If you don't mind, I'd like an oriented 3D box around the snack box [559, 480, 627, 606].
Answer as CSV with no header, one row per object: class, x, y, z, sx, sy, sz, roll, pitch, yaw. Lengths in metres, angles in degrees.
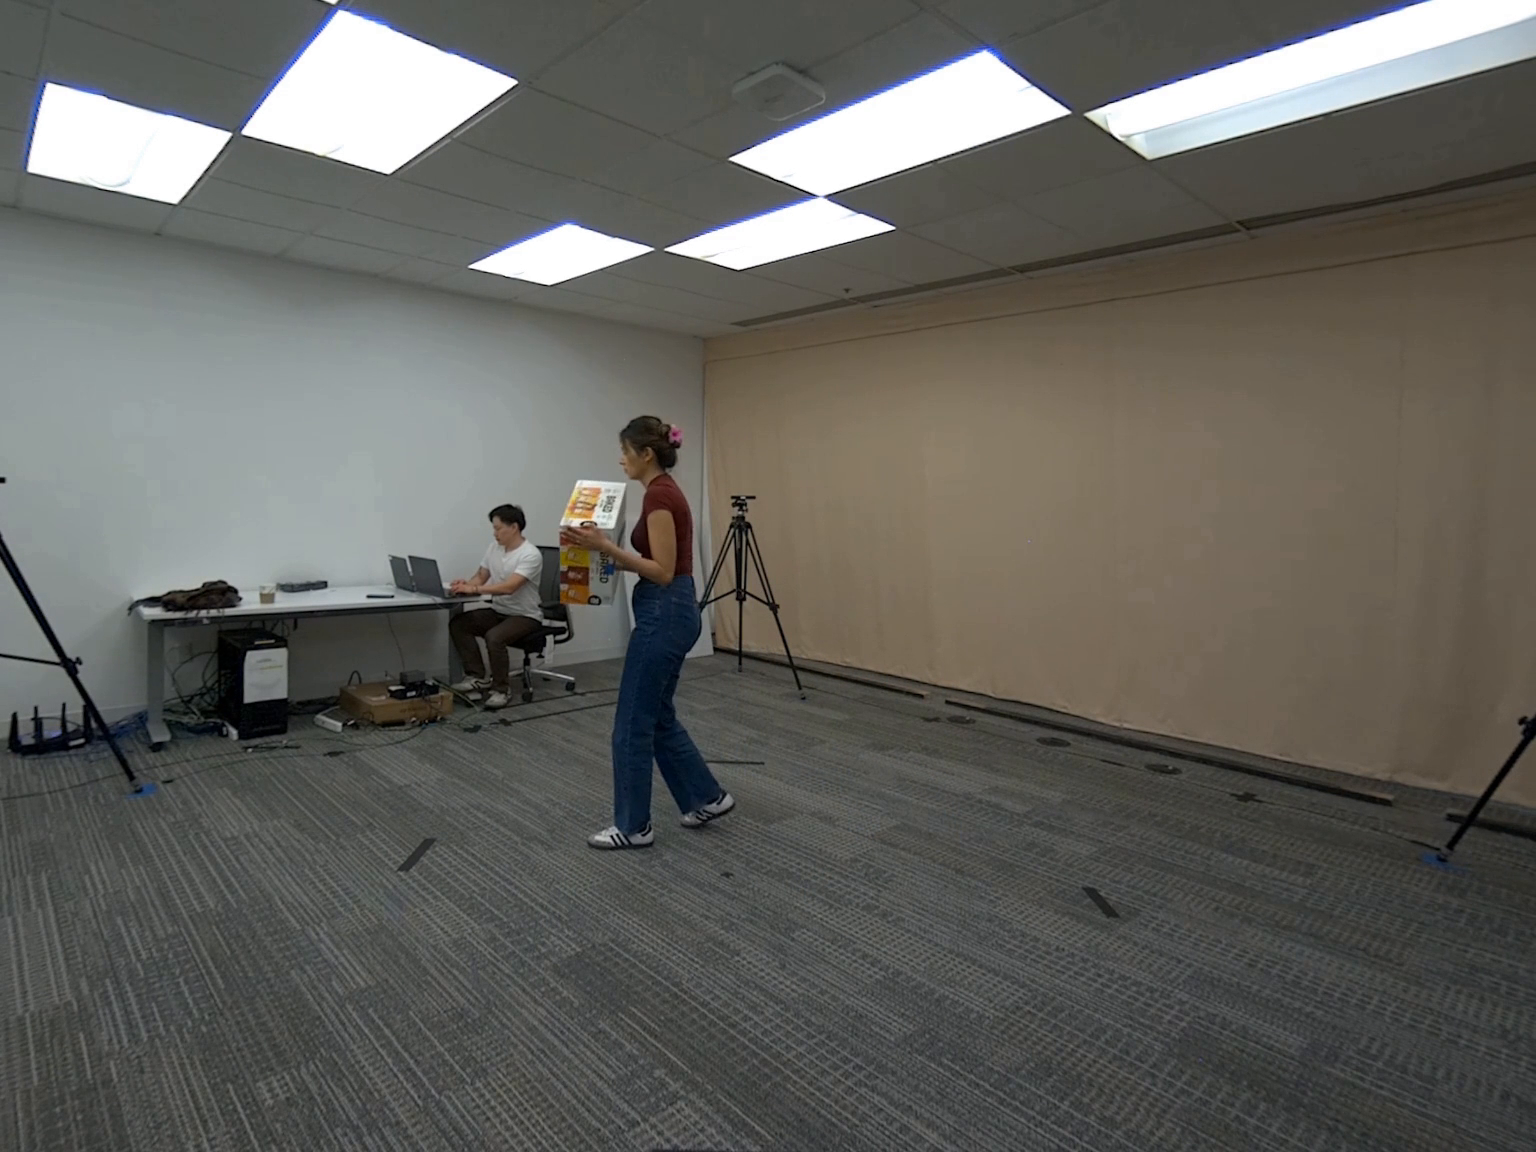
snack box,-0.700,-0.131,3.340,0.205,0.335,0.413,4,30,-5
